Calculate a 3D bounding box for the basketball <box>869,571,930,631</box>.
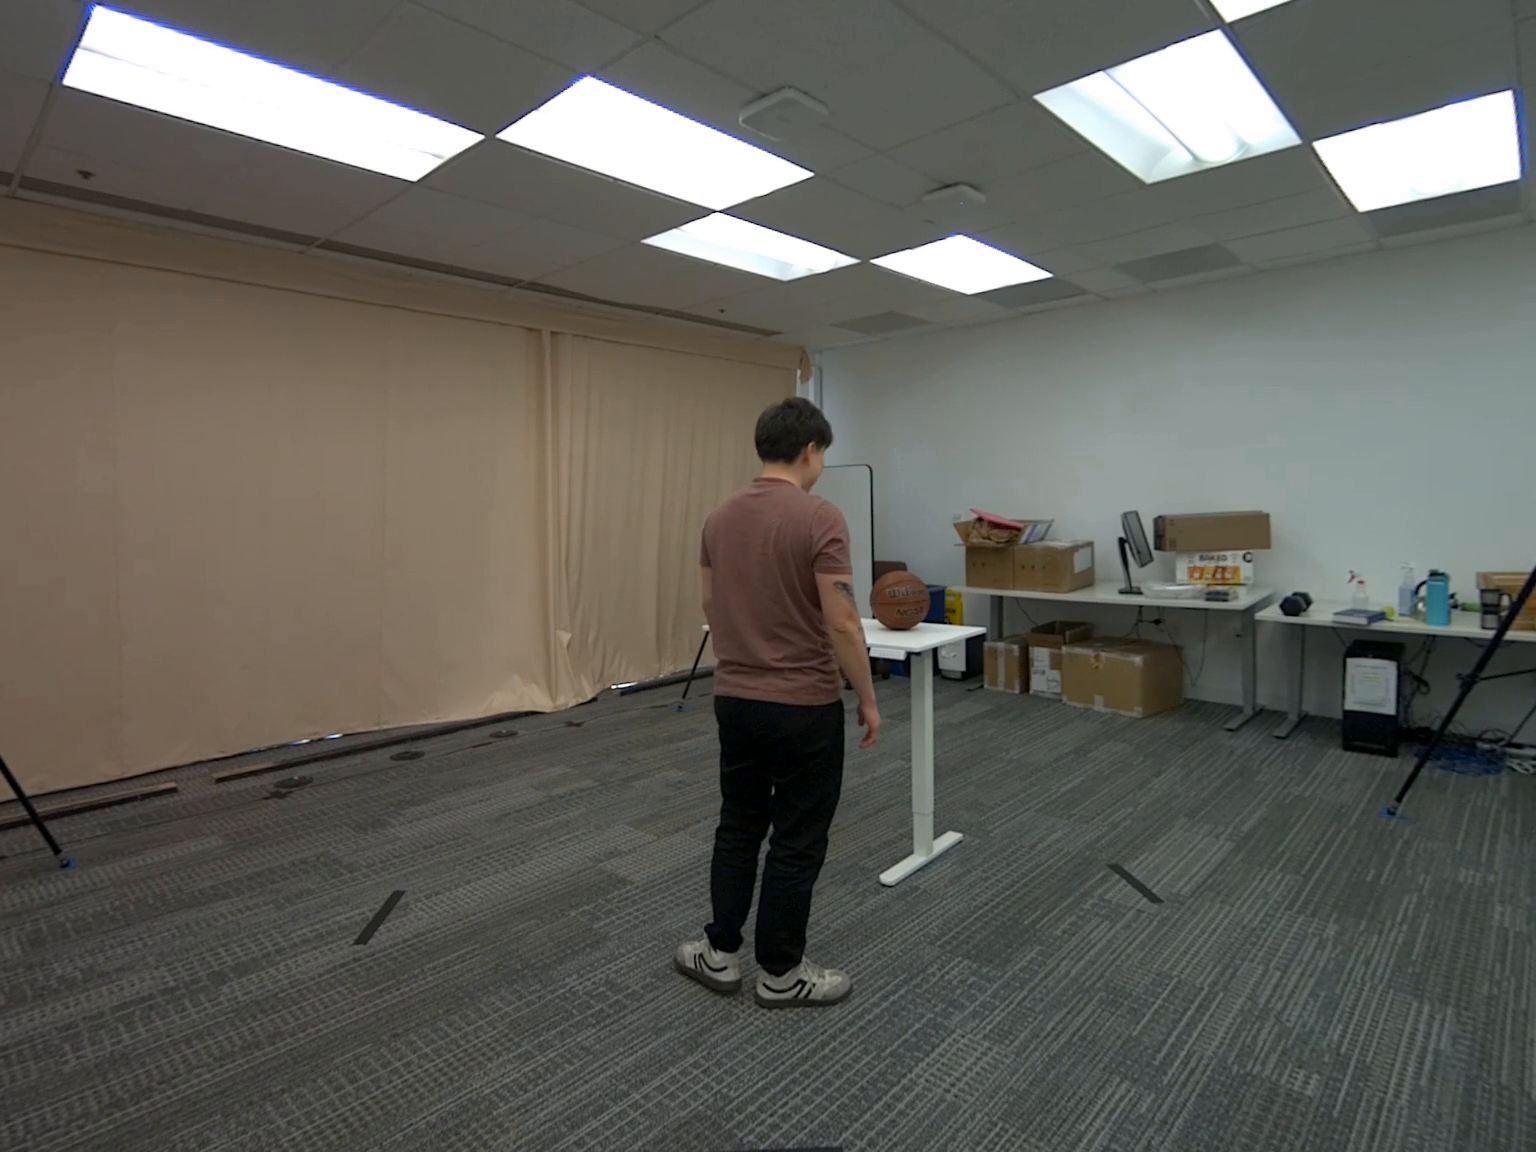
[{"bbox_3d":[0.533,0.099,3.376,0.236,0.235,0.237,-1,4,-2],"label":"basketball"}]
